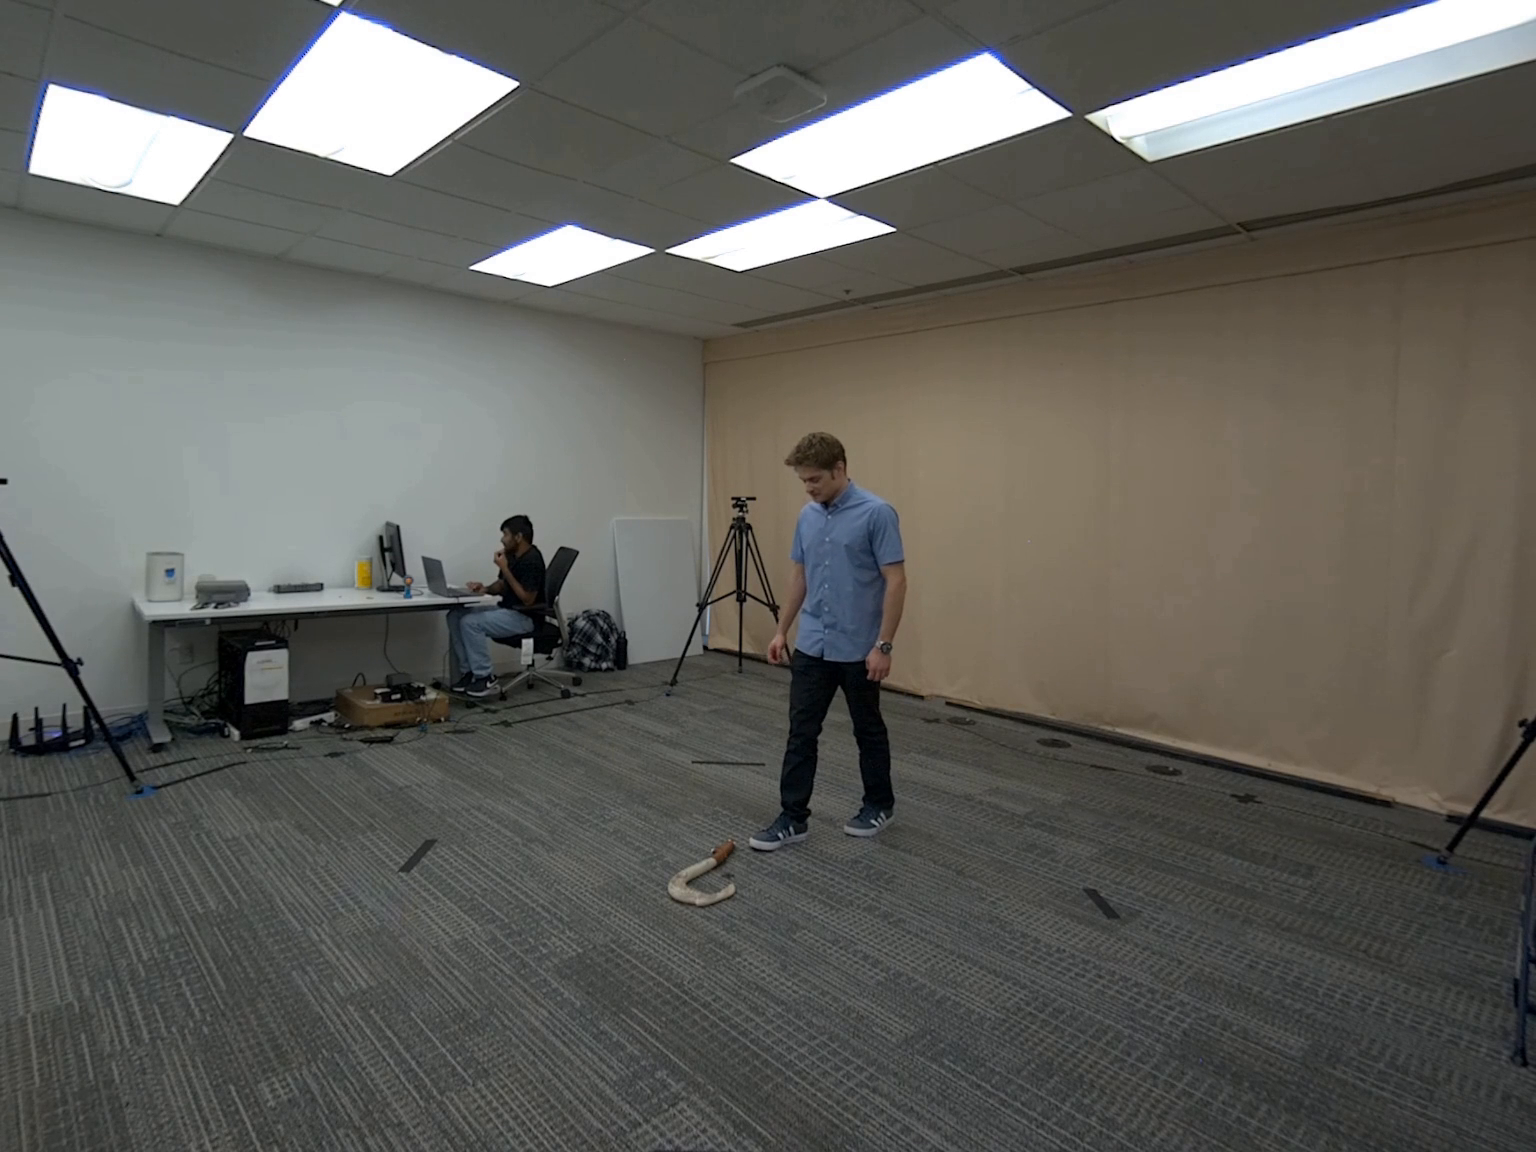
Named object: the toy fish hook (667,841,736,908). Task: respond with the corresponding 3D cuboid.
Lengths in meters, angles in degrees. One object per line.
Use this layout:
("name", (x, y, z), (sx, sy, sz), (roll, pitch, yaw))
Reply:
("toy fish hook", (-0.191, 1.092, 3.102), (0.229, 0.048, 0.499), (12, 9, 21))
